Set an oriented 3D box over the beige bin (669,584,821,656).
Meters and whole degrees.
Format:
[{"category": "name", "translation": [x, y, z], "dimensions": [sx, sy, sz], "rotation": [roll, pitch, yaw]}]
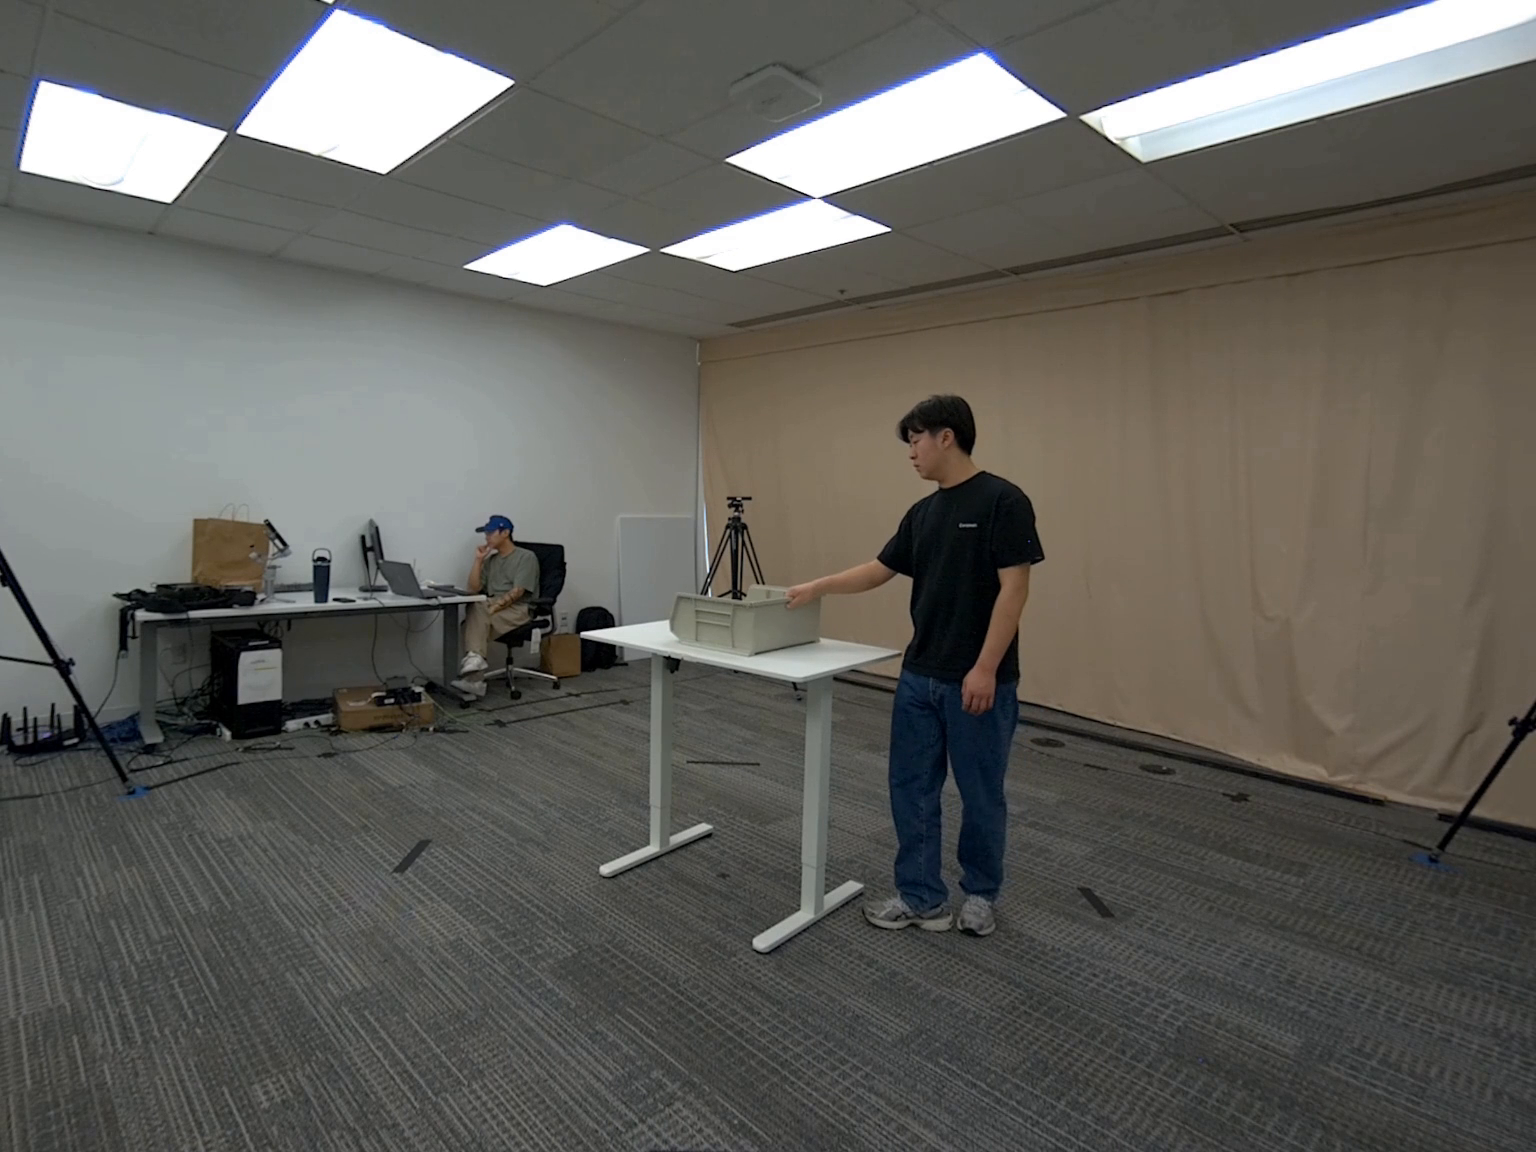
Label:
[{"category": "beige bin", "translation": [-0.078, 0.151, 2.979], "dimensions": [0.387, 0.188, 0.413], "rotation": [7, 7, 39]}]
